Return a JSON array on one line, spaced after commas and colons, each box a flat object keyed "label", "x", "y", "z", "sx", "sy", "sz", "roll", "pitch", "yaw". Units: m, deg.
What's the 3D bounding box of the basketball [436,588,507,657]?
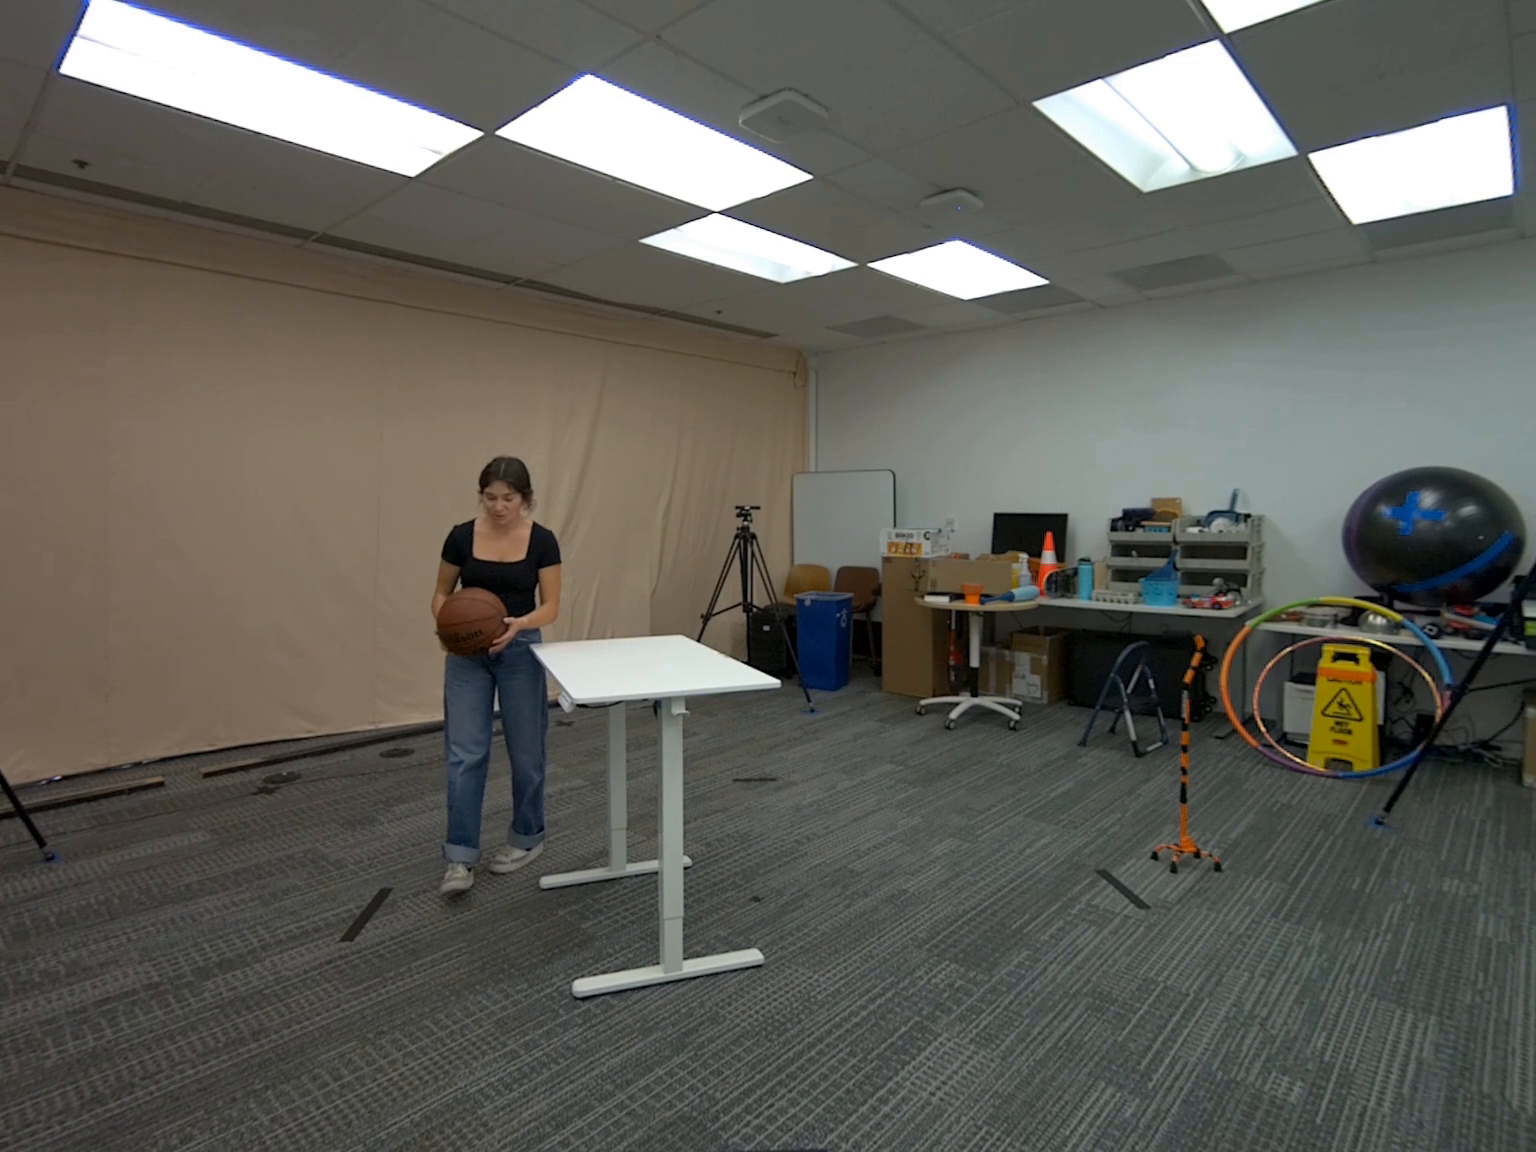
[{"label": "basketball", "x": -1.028, "y": 0.157, "z": 2.923, "sx": 0.236, "sy": 0.235, "sz": 0.237, "roll": 0, "pitch": 4, "yaw": -2}]
